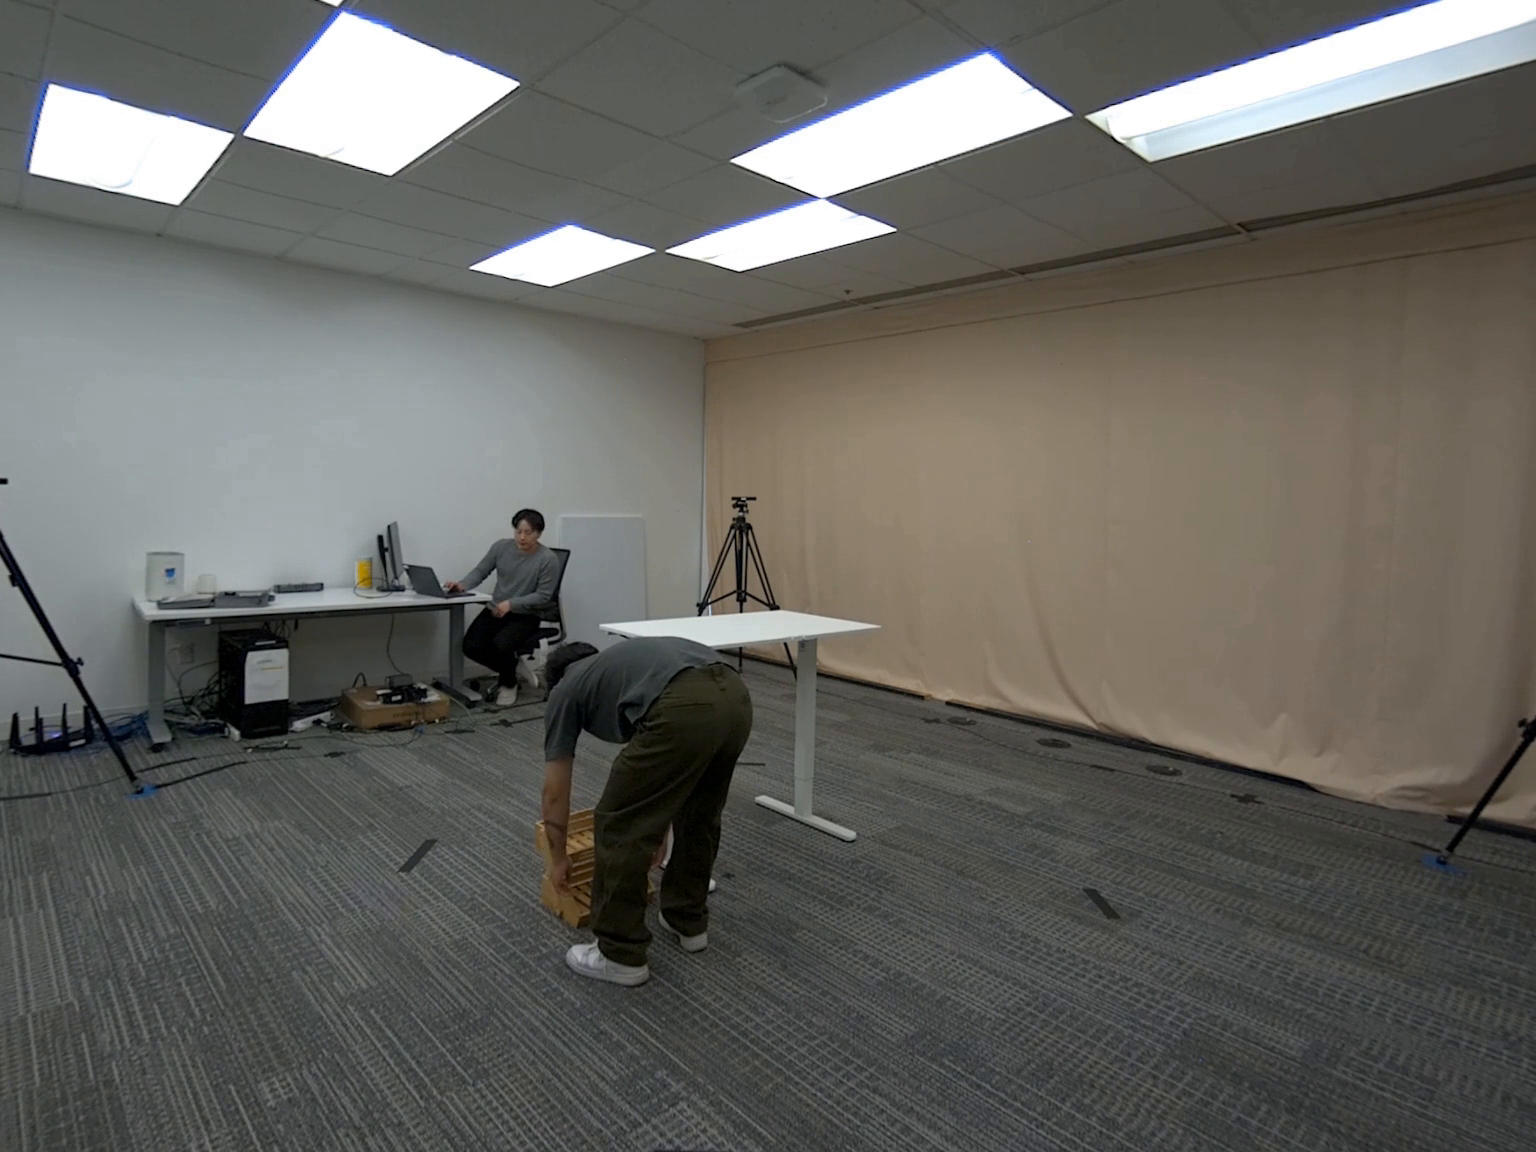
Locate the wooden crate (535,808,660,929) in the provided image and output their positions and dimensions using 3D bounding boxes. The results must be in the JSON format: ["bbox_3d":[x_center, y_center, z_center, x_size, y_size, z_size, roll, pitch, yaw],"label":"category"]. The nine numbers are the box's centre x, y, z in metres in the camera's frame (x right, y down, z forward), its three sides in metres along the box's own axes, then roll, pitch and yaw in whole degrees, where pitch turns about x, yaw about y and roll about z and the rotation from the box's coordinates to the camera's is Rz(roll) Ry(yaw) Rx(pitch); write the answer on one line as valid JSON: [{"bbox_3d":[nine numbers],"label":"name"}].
[{"bbox_3d":[-0.596,0.983,2.888,0.317,0.272,0.310,-2,5,-43],"label":"wooden crate"}]
